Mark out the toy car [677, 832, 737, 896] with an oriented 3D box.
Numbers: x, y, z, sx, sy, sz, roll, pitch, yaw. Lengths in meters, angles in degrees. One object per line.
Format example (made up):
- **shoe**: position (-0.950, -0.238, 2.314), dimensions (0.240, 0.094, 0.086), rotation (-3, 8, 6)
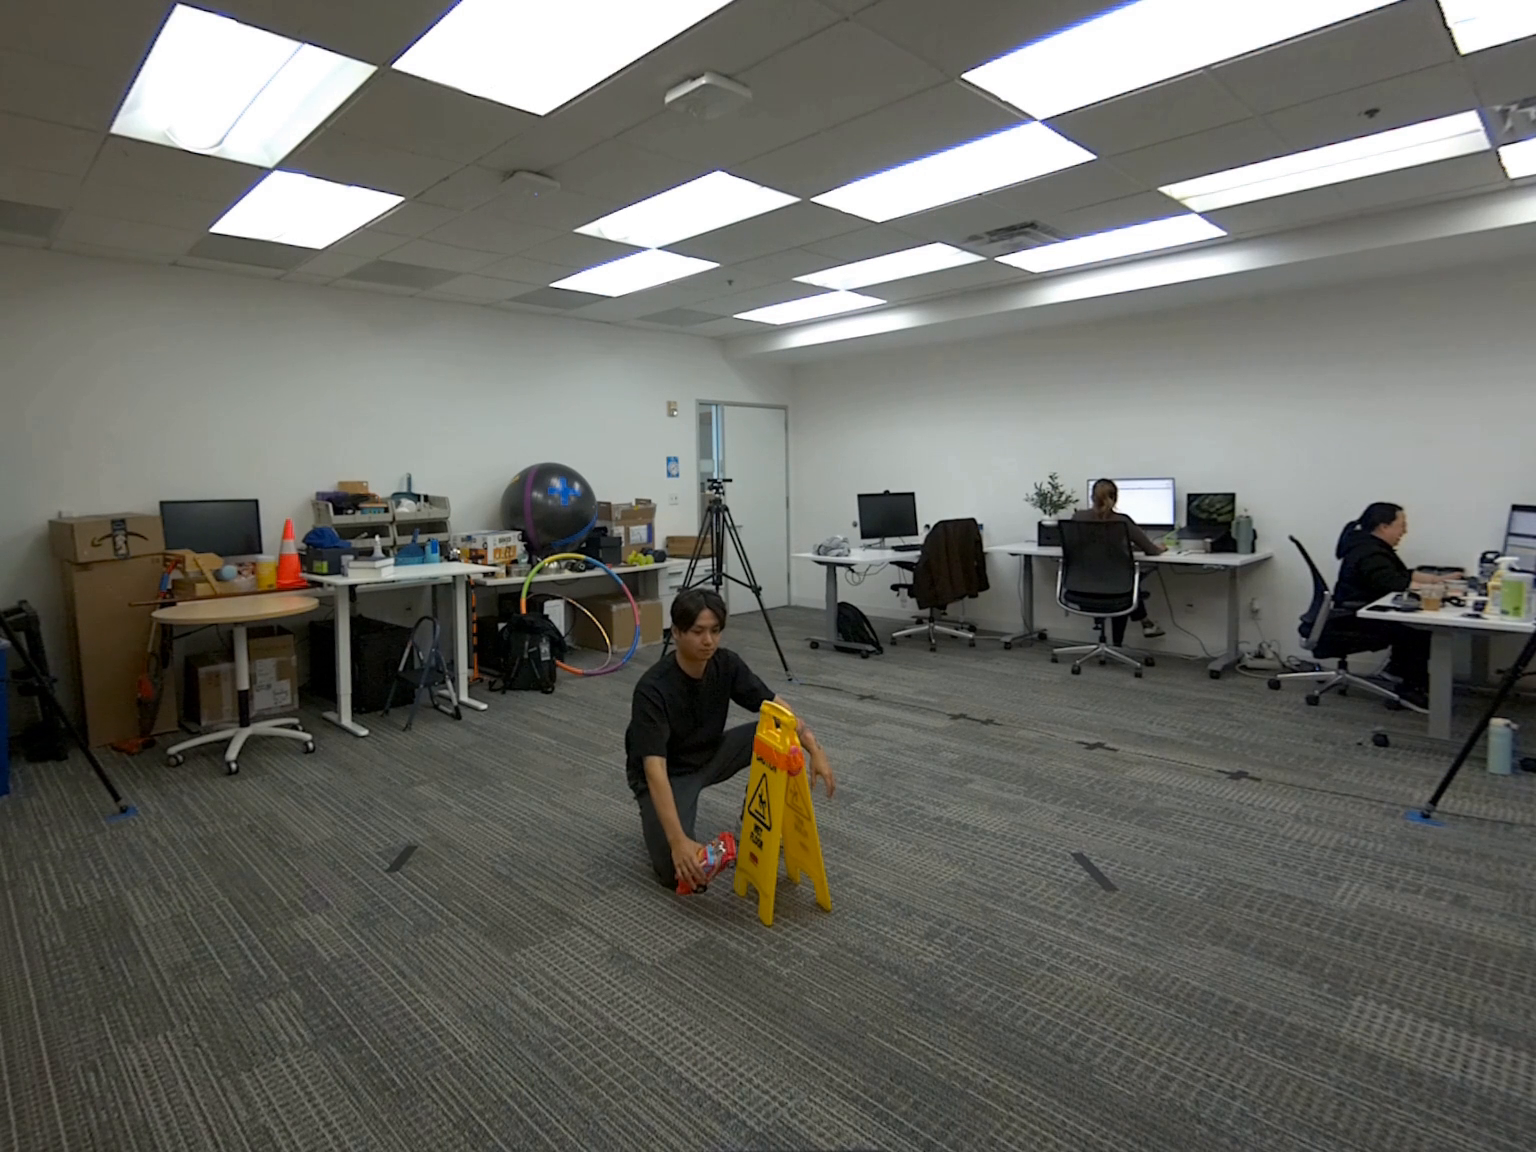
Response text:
- **toy car**: position (-0.191, 0.932, 2.768), dimensions (0.255, 0.080, 0.134), rotation (-36, 33, 13)
